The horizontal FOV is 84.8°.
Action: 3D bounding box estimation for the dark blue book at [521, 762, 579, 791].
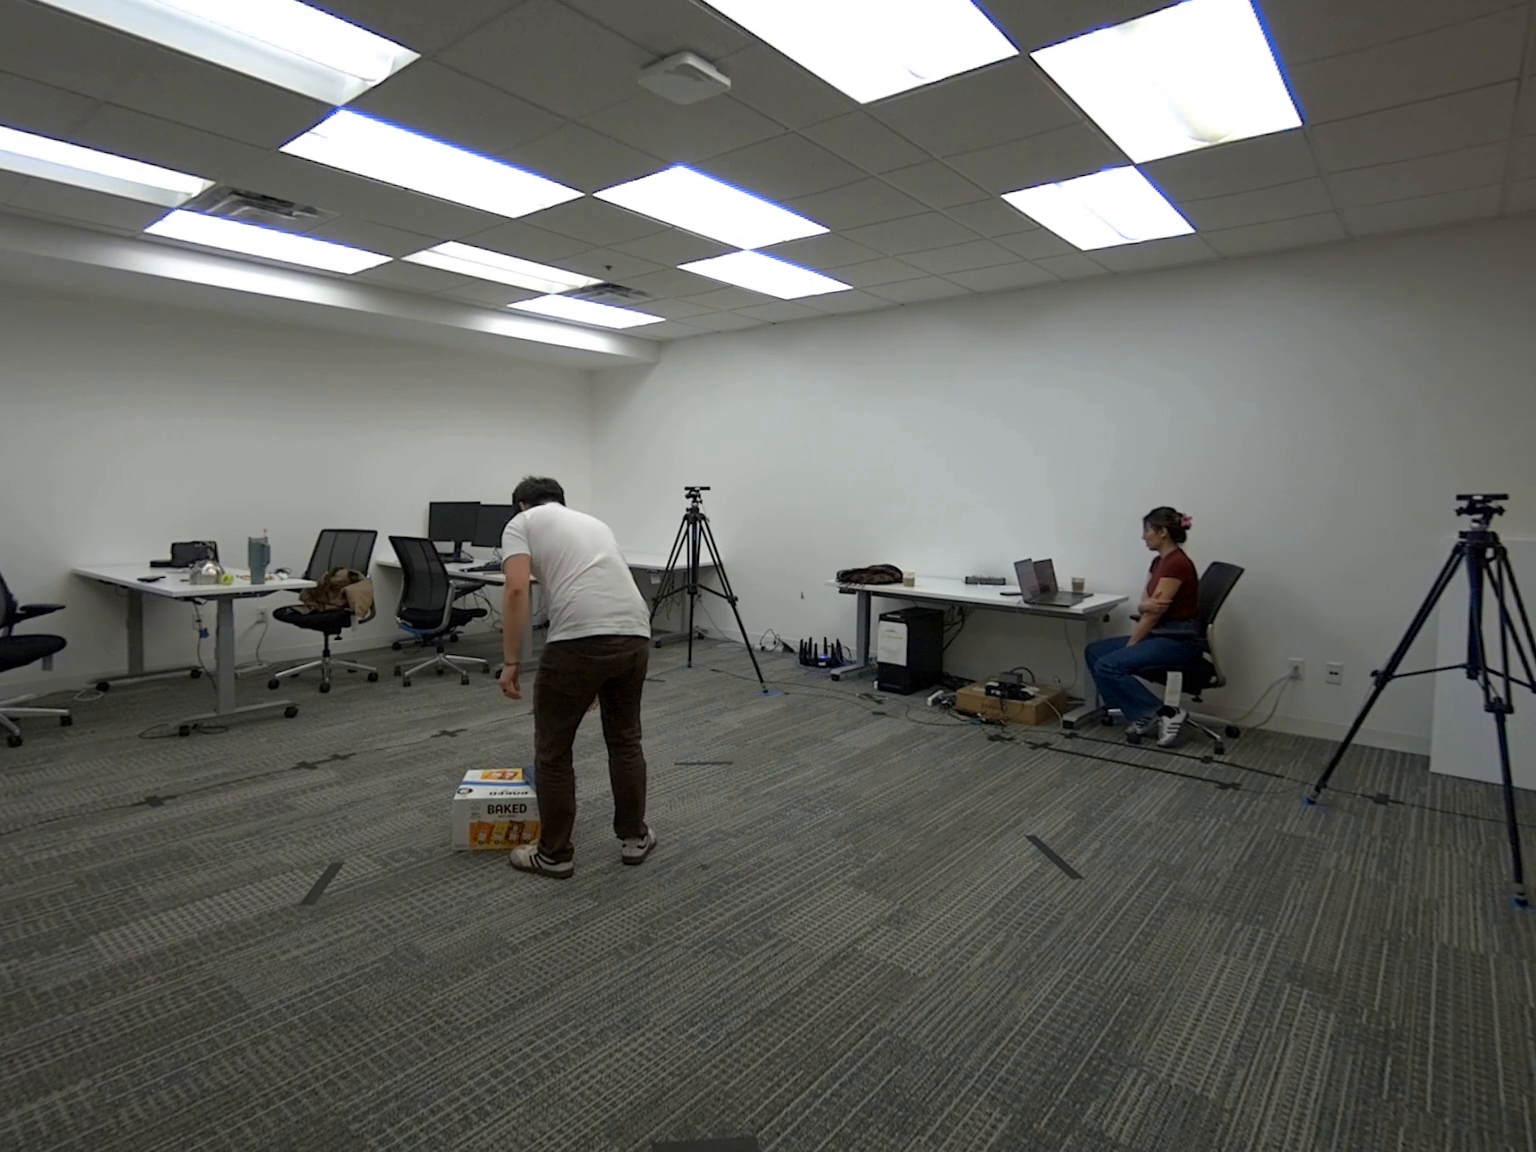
[{"bbox_3d":[-0.888,0.801,3.408,0.159,0.045,0.252,-5,7,-29],"label":"dark blue book"}]
